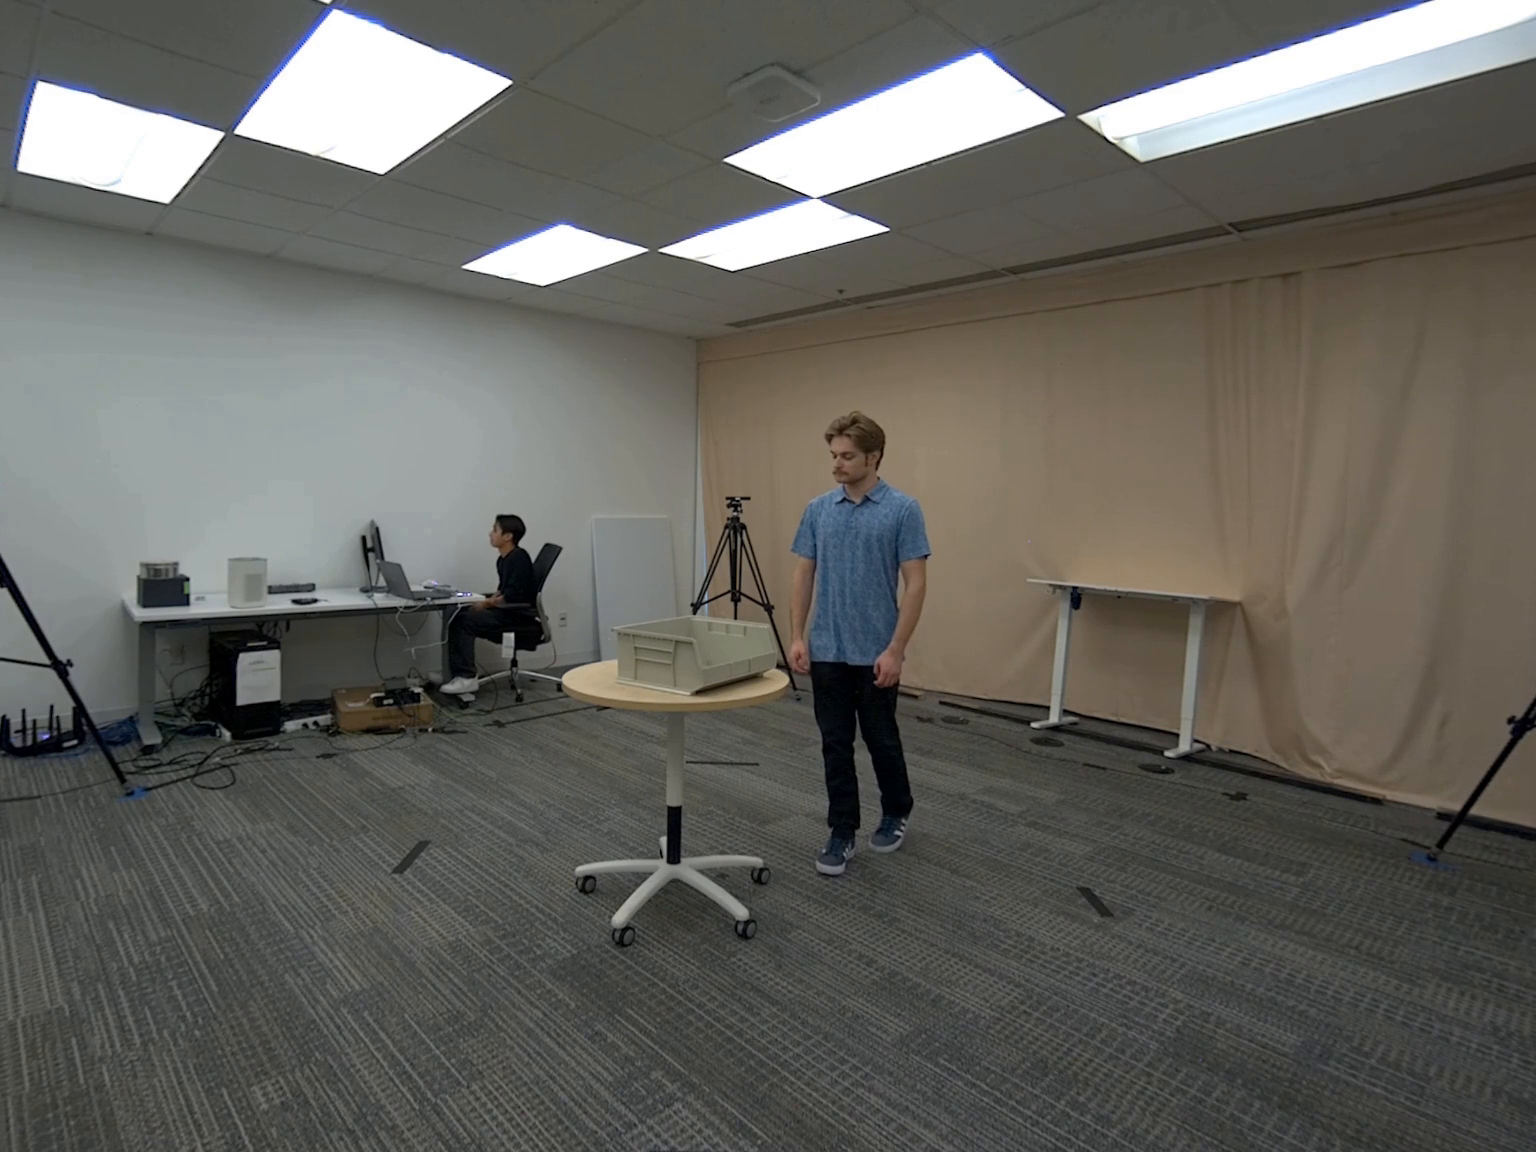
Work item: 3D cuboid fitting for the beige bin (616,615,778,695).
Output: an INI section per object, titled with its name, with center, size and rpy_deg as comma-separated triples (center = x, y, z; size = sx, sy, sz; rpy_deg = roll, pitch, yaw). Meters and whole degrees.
[beige bin]
center = -0.243, 0.262, 2.801
size = 0.386, 0.188, 0.414
rpy_deg = 2, 5, 34
